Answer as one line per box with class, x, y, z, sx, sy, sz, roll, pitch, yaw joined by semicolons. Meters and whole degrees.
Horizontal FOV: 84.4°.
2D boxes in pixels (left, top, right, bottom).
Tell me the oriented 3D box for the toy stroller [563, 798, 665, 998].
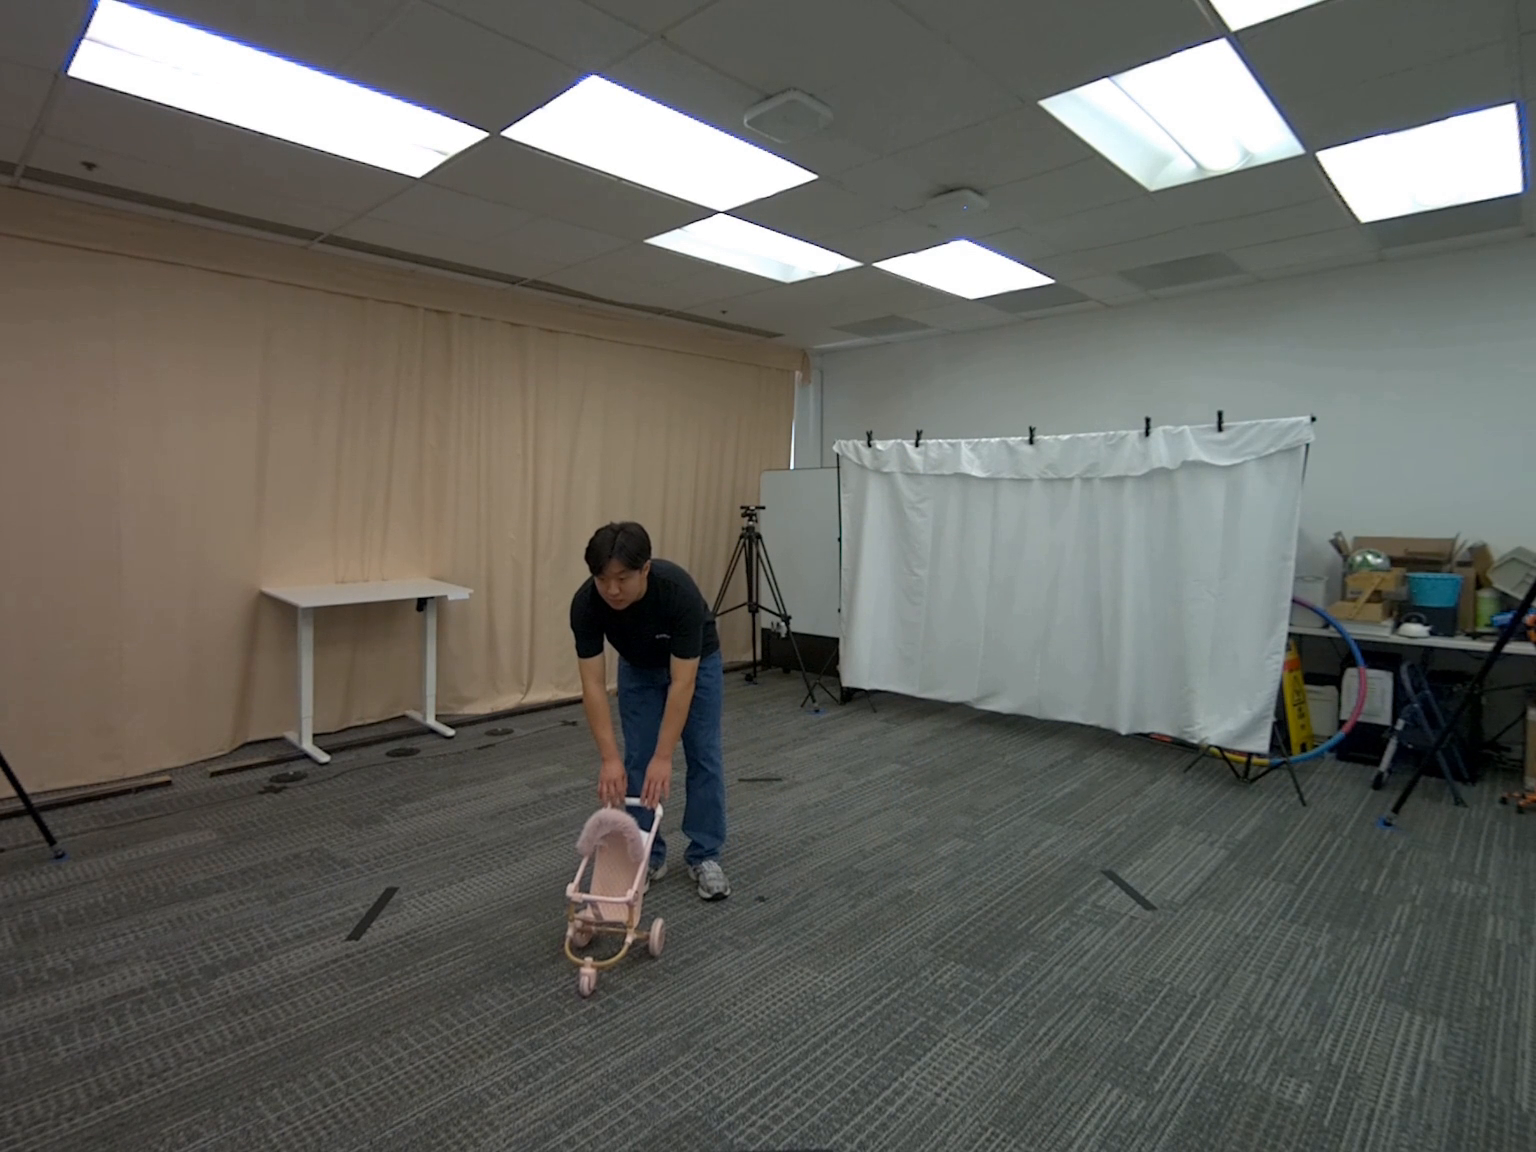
toy stroller;-0.474;0.962;2.573;0.287;0.539;0.333;-1;-13;16
